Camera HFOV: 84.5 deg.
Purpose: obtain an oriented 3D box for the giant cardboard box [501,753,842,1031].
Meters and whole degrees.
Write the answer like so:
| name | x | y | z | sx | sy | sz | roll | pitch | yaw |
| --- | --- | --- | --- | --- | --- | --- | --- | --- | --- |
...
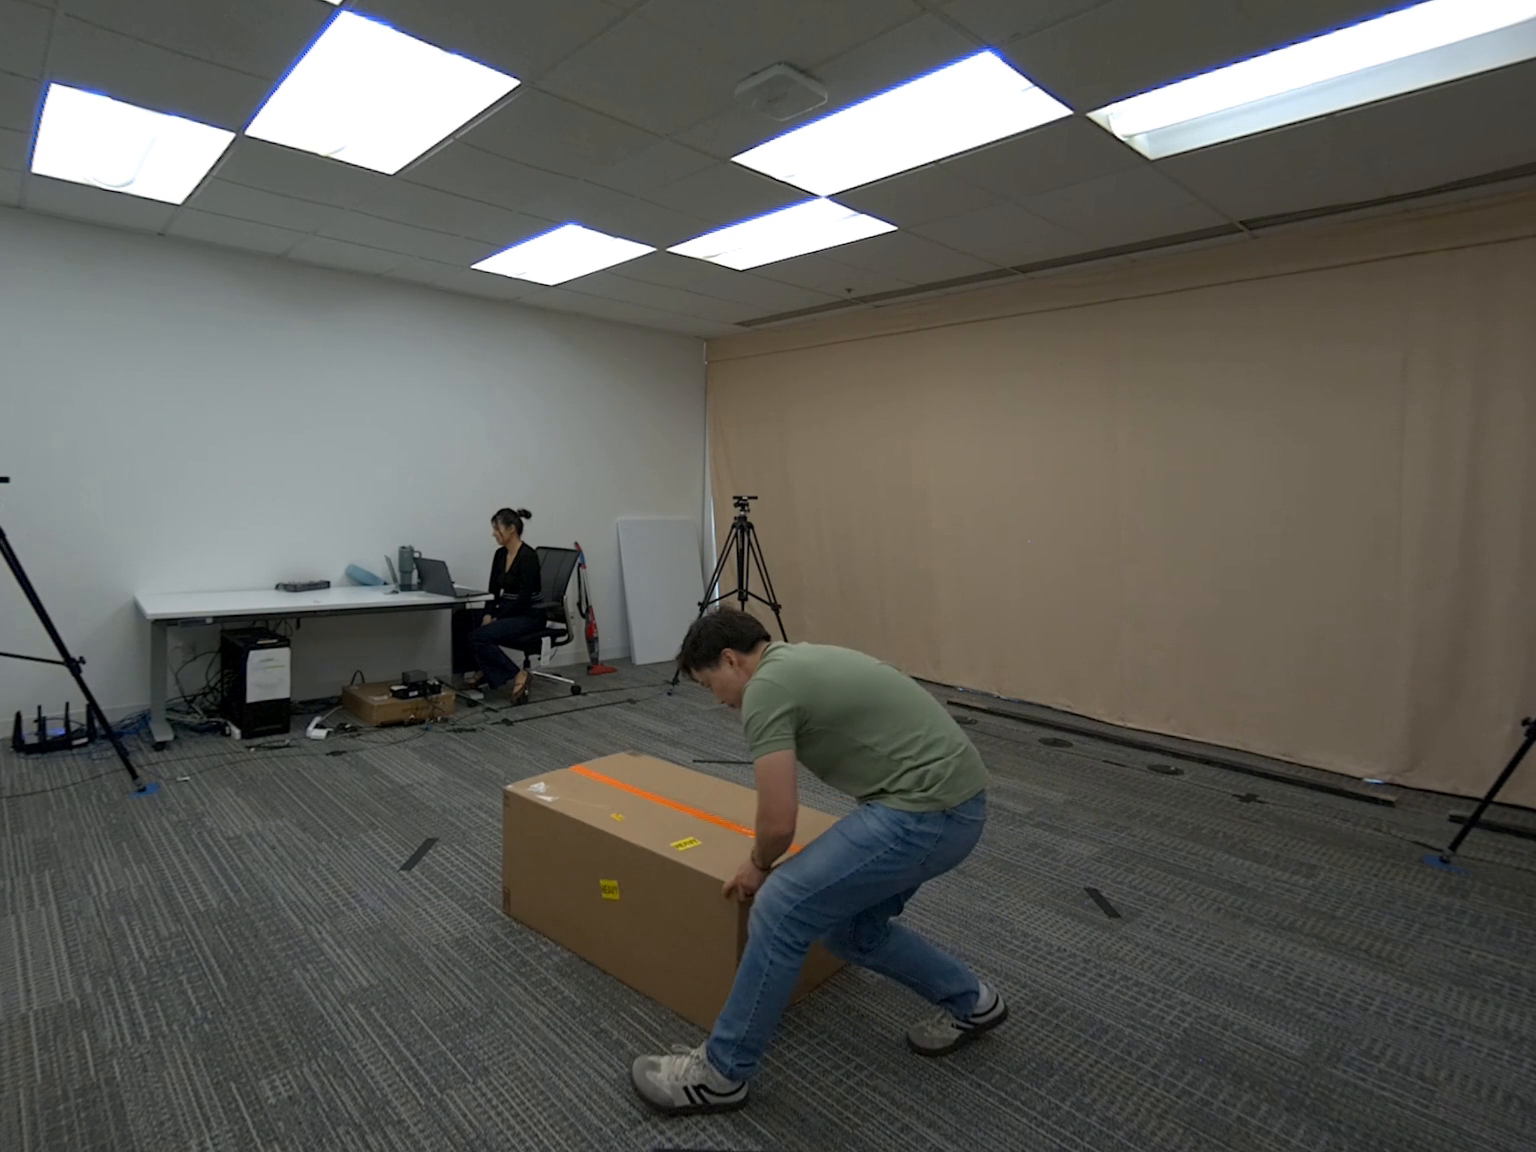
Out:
| name | x | y | z | sx | sy | sz | roll | pitch | yaw |
| --- | --- | --- | --- | --- | --- | --- | --- | --- | --- |
| giant cardboard box | -0.310 | 0.929 | 2.663 | 1.052 | 0.425 | 0.565 | 6 | 7 | 40 |
